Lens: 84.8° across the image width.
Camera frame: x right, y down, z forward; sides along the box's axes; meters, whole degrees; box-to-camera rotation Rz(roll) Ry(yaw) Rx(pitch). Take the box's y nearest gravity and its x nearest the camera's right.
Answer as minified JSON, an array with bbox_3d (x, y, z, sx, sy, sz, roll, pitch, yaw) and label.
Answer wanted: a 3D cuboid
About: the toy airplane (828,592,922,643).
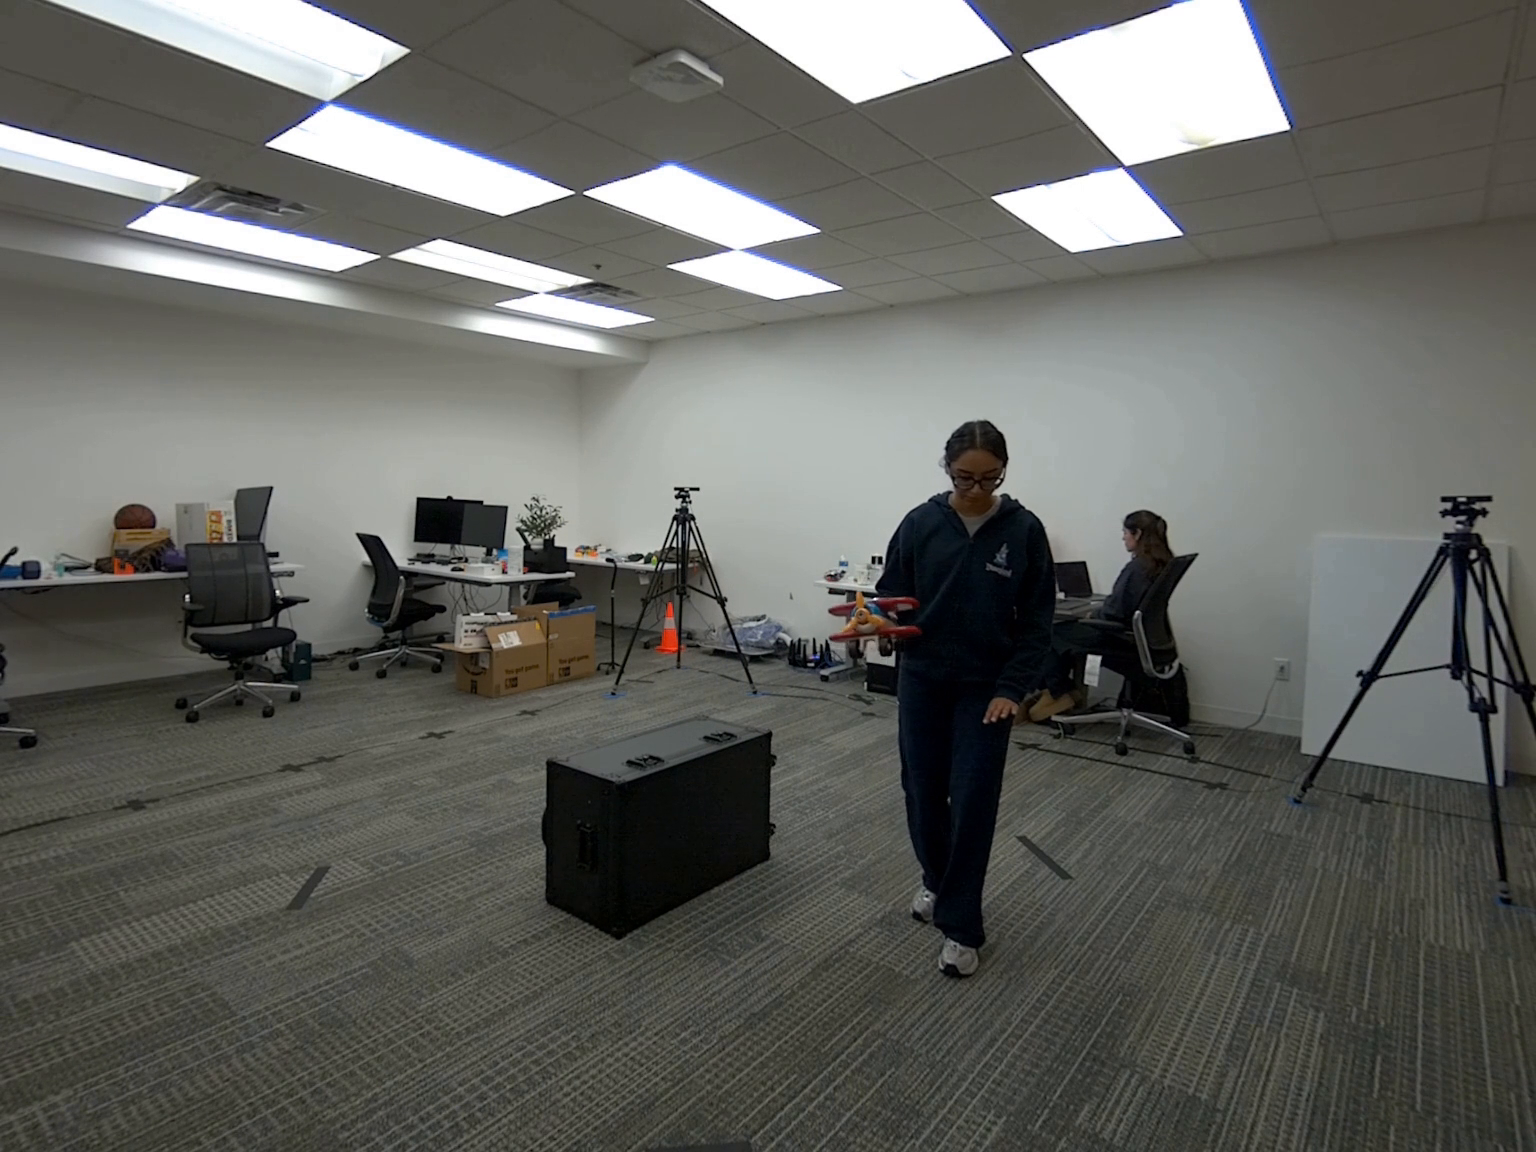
[{"bbox_3d":[0.295,0.146,2.374,0.251,0.157,0.258,-7,-5,-2],"label":"toy airplane"}]
